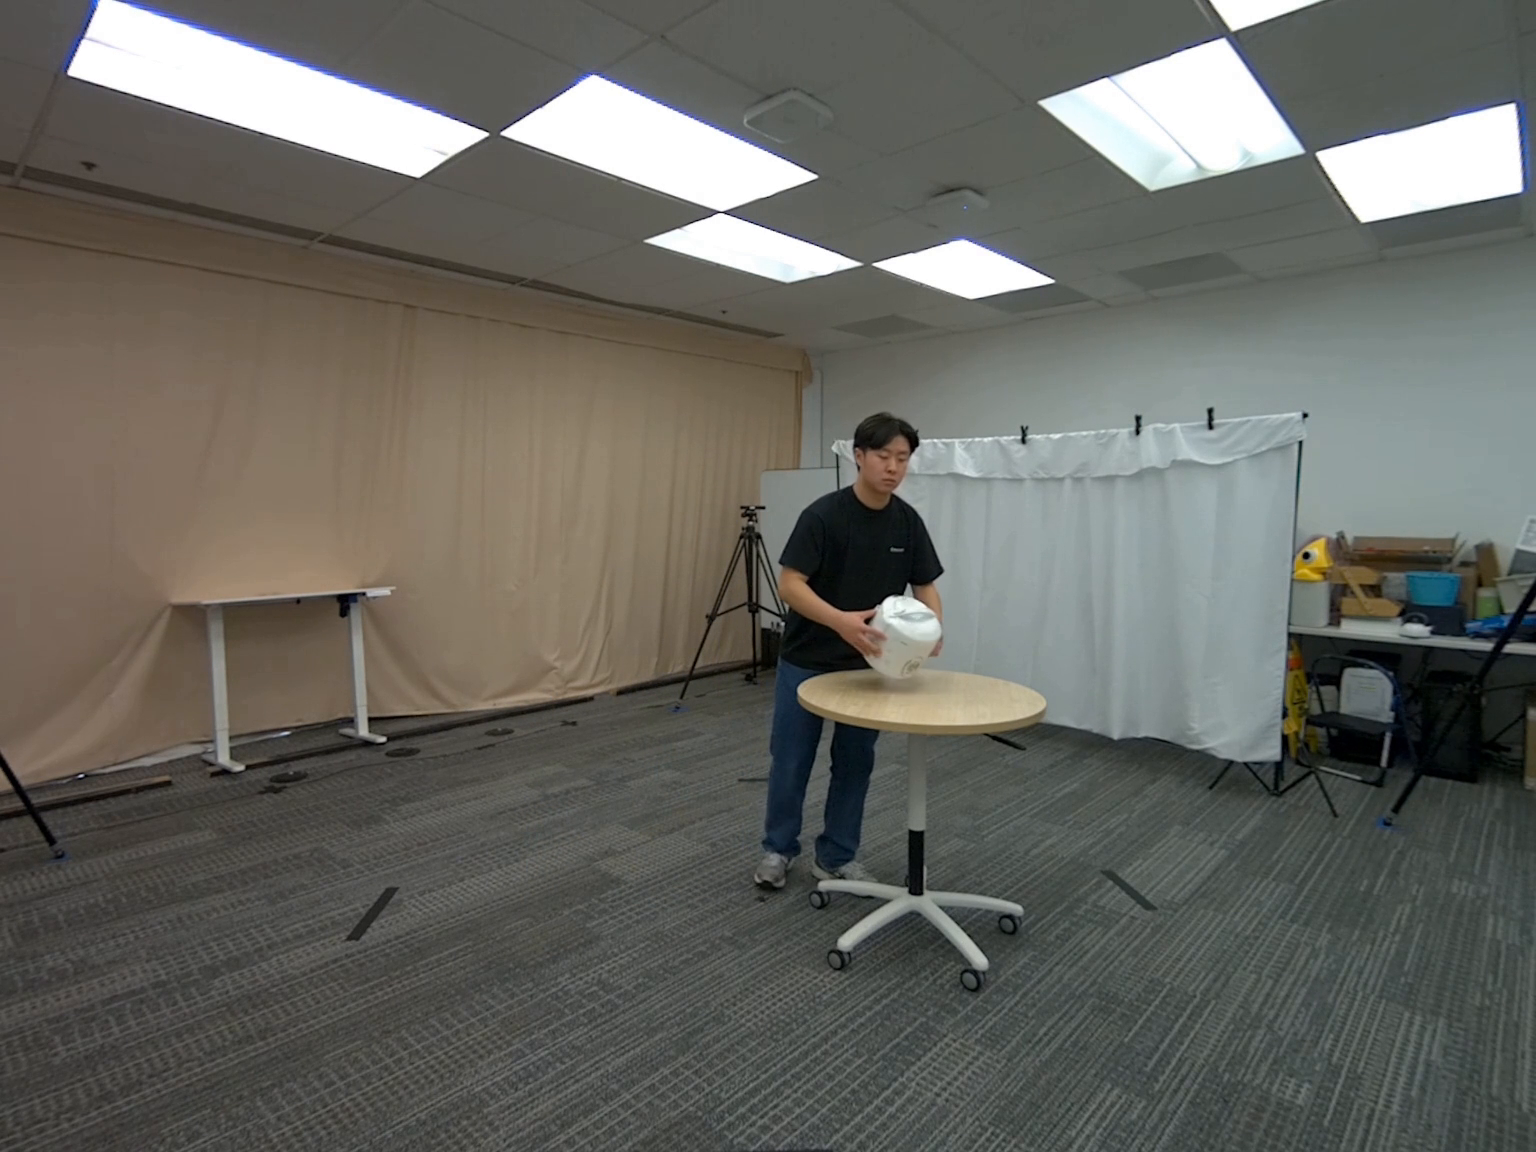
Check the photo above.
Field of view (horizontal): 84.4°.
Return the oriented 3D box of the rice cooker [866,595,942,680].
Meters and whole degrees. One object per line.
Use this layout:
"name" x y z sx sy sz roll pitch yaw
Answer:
"rice cooker" 0.429 0.189 2.680 0.215 0.232 0.224 2 39 -29
